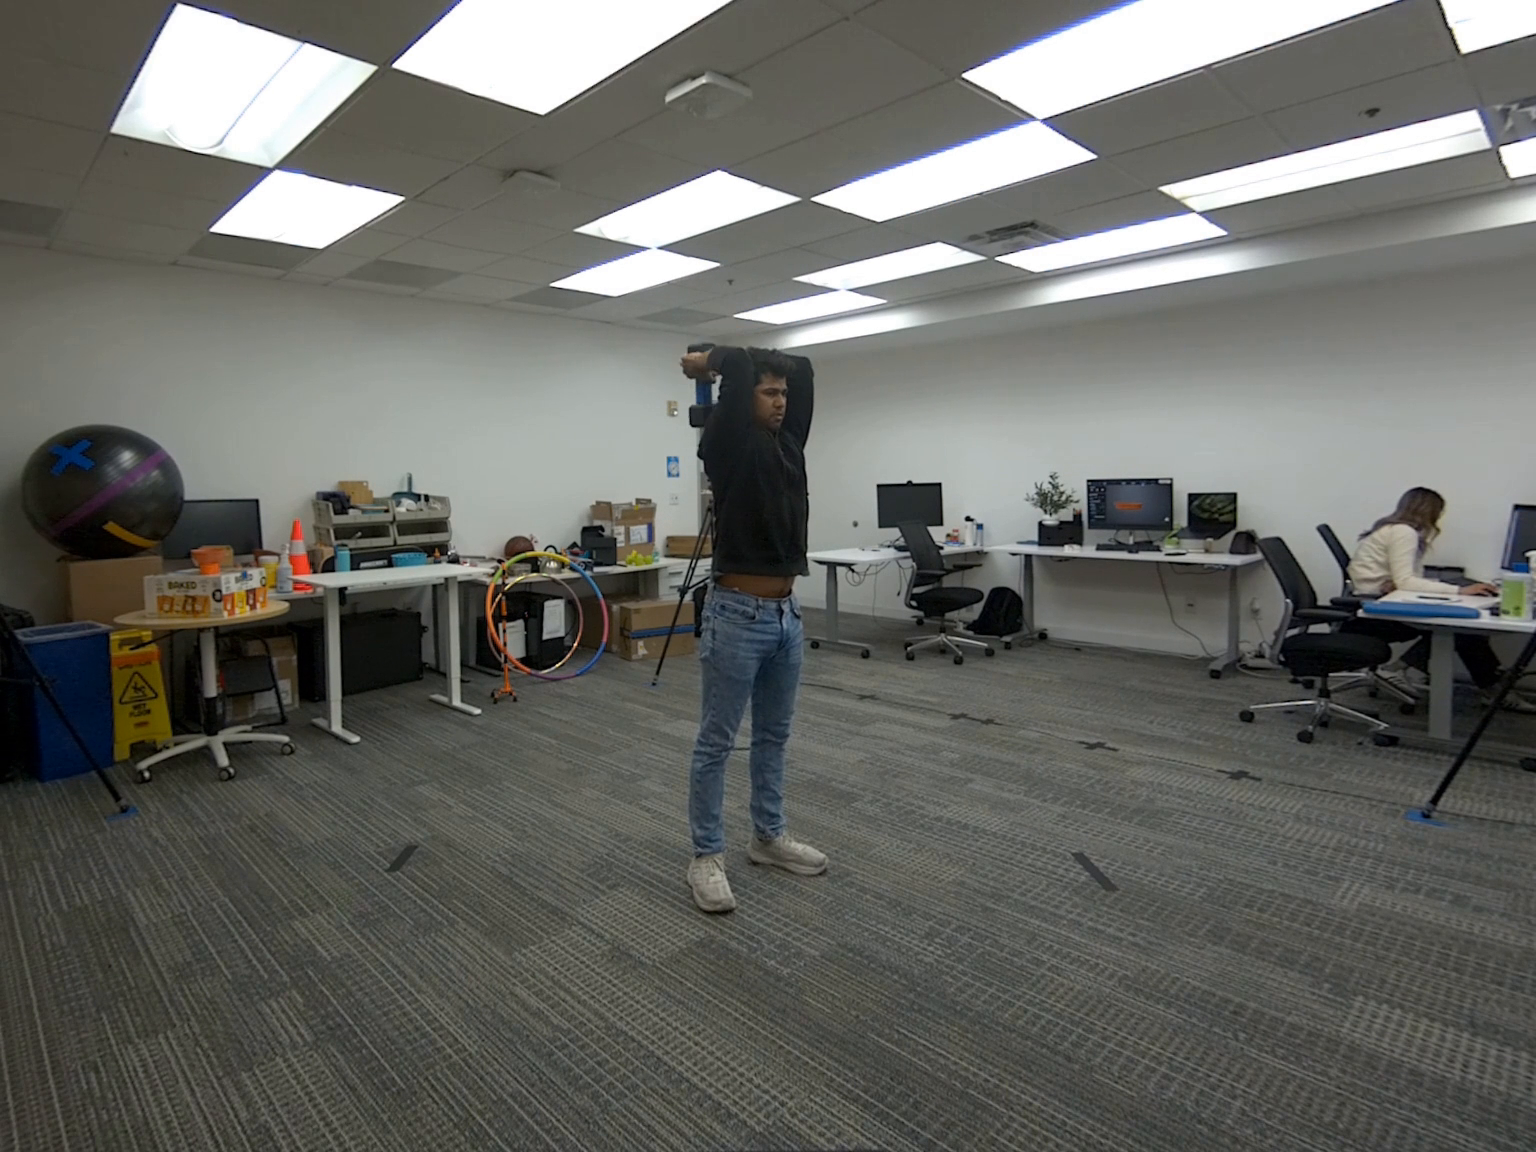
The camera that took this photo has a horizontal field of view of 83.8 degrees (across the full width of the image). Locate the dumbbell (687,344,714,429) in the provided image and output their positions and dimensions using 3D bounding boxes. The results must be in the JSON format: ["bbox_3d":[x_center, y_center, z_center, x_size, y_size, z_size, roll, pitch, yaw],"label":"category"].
[{"bbox_3d":[-0.215,-0.681,3.032,0.120,0.293,0.112,-1,4,-35],"label":"dumbbell"}]
